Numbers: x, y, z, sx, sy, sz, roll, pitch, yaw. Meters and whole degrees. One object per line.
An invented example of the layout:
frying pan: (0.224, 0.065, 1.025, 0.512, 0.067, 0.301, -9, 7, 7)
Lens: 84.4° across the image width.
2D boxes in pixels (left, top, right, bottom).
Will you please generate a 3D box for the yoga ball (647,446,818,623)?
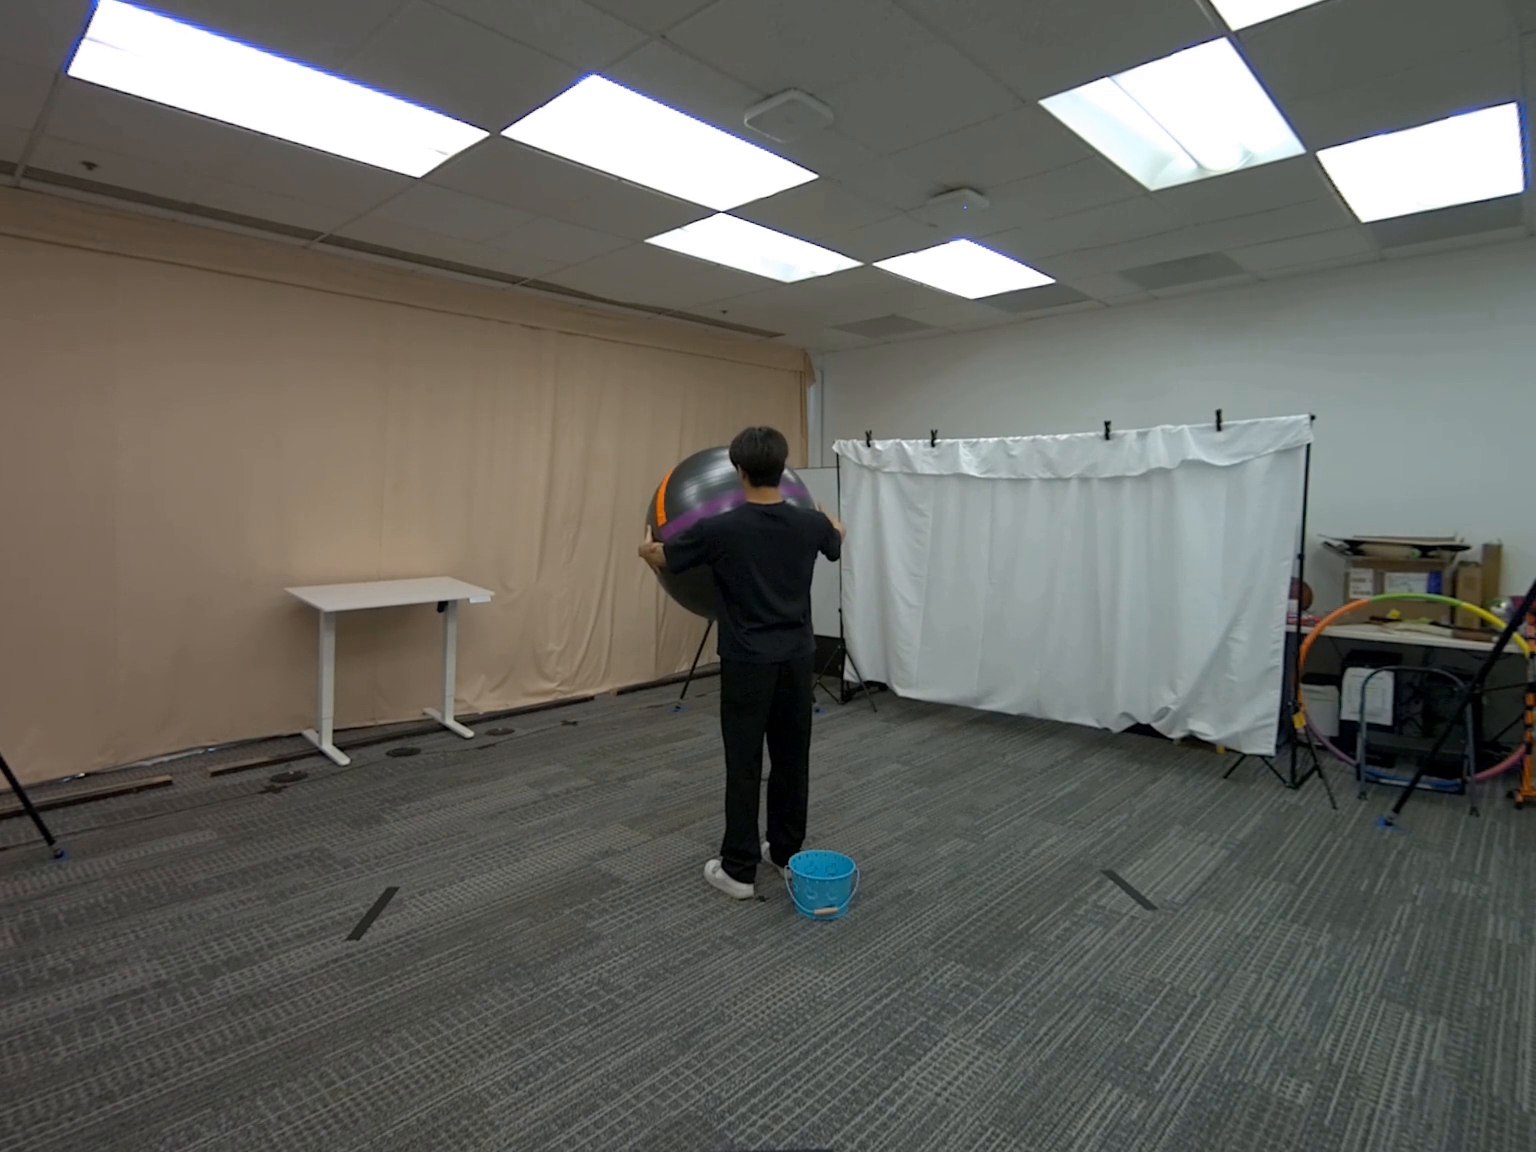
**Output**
yoga ball: (-0.164, -0.177, 3.655, 0.757, 0.756, 0.761, 0, 4, -2)
